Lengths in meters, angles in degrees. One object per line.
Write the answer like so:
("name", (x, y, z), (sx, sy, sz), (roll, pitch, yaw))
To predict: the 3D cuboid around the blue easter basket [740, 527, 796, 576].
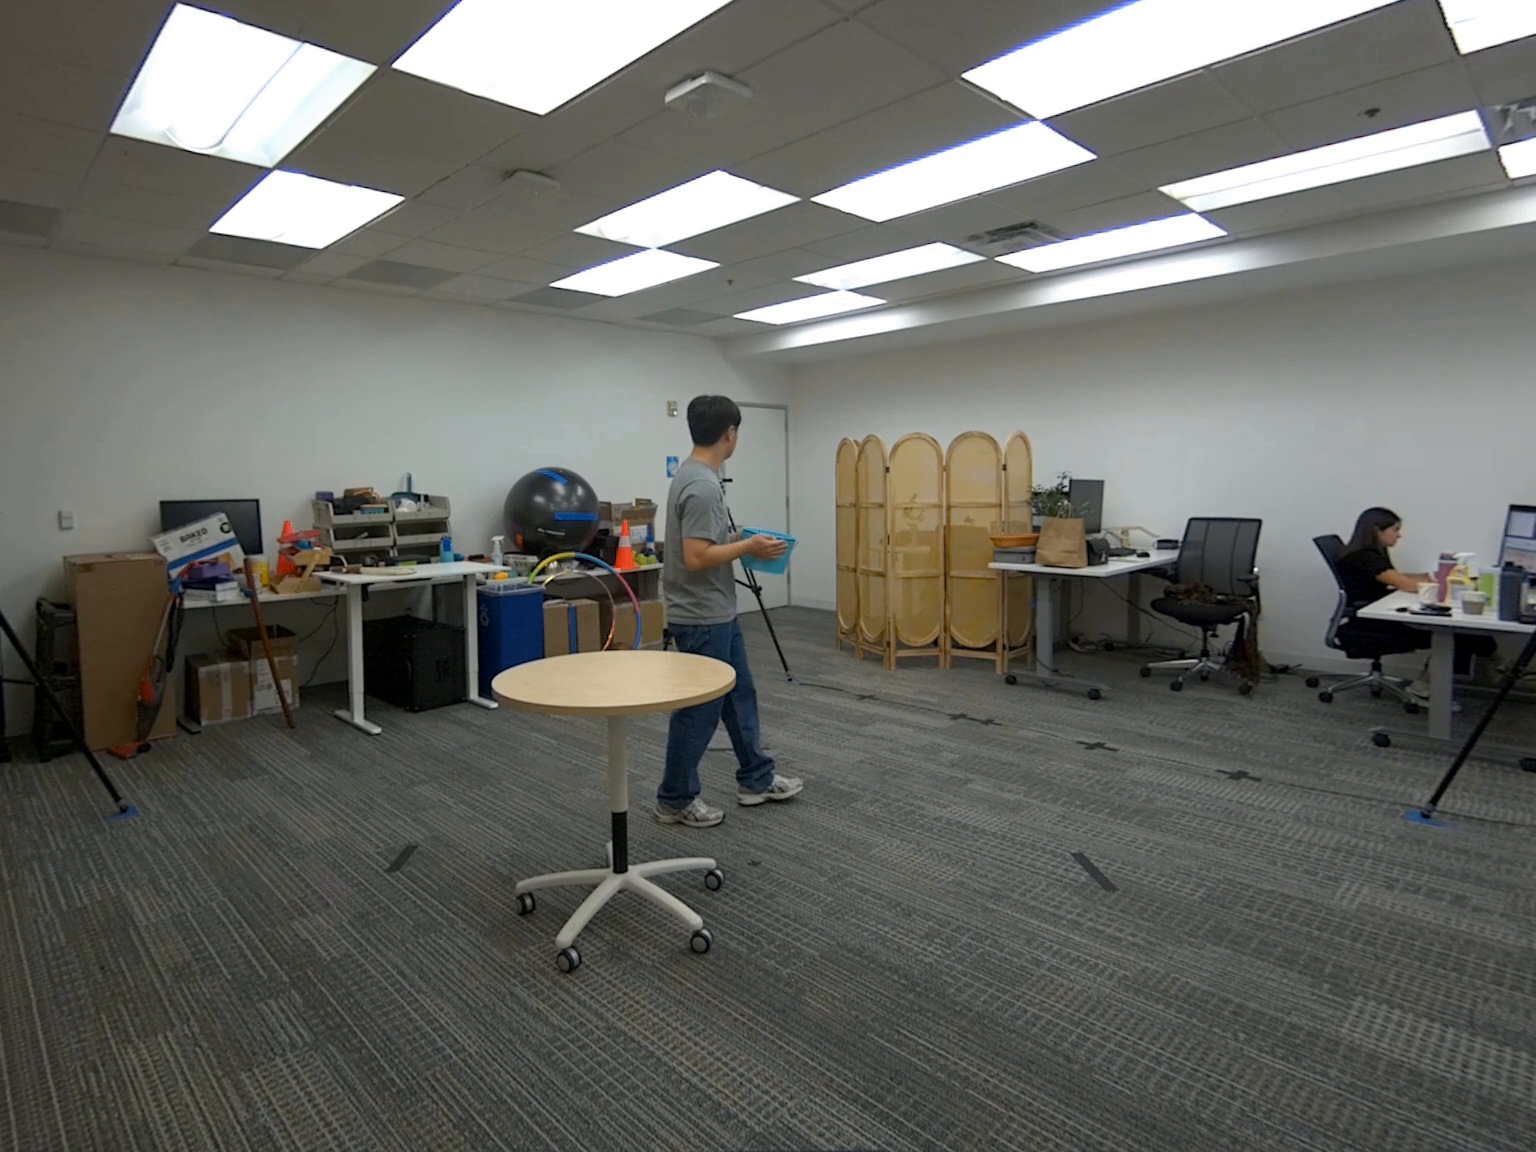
("blue easter basket", (-0.013, -0.101, 3.468), (0.243, 0.155, 0.245), (9, 5, -2))
